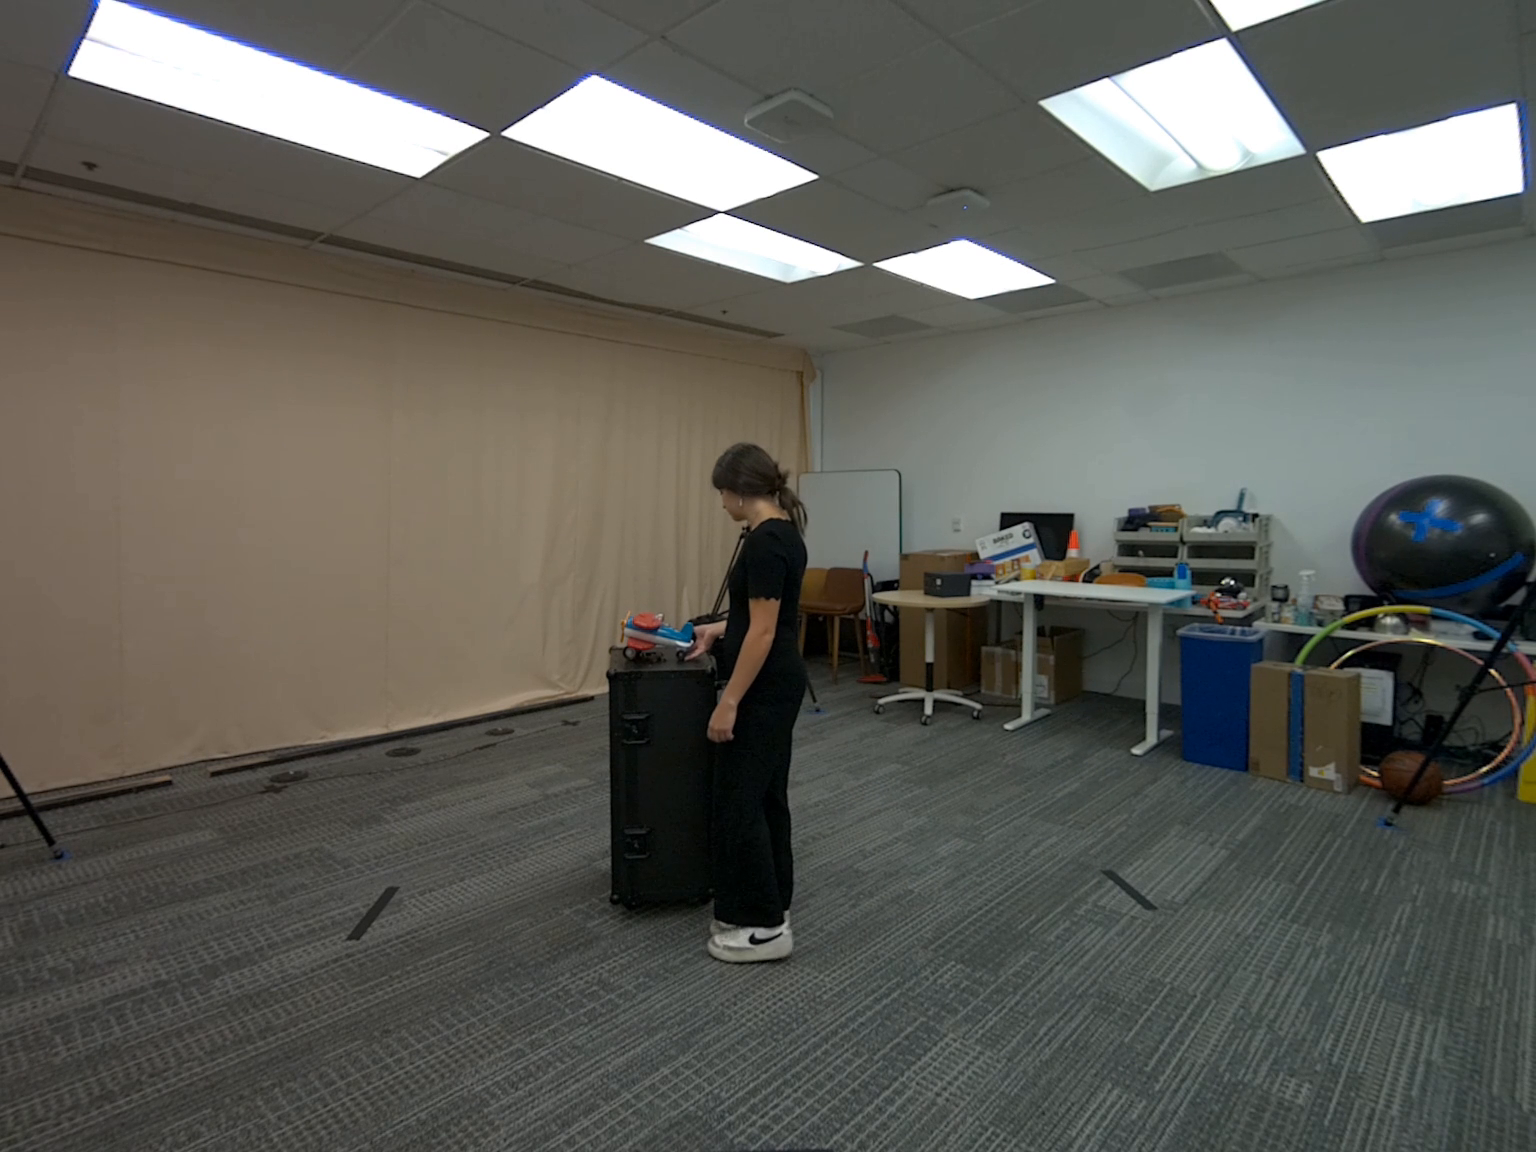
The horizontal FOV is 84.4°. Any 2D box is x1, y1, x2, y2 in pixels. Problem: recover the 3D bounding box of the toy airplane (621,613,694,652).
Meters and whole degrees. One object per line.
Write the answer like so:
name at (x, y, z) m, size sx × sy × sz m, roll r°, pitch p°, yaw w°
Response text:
toy airplane at (-0.392, 0.216, 3.023) m, size 0.254 × 0.156 × 0.257 m, roll -2°, pitch 6°, yaw -22°
